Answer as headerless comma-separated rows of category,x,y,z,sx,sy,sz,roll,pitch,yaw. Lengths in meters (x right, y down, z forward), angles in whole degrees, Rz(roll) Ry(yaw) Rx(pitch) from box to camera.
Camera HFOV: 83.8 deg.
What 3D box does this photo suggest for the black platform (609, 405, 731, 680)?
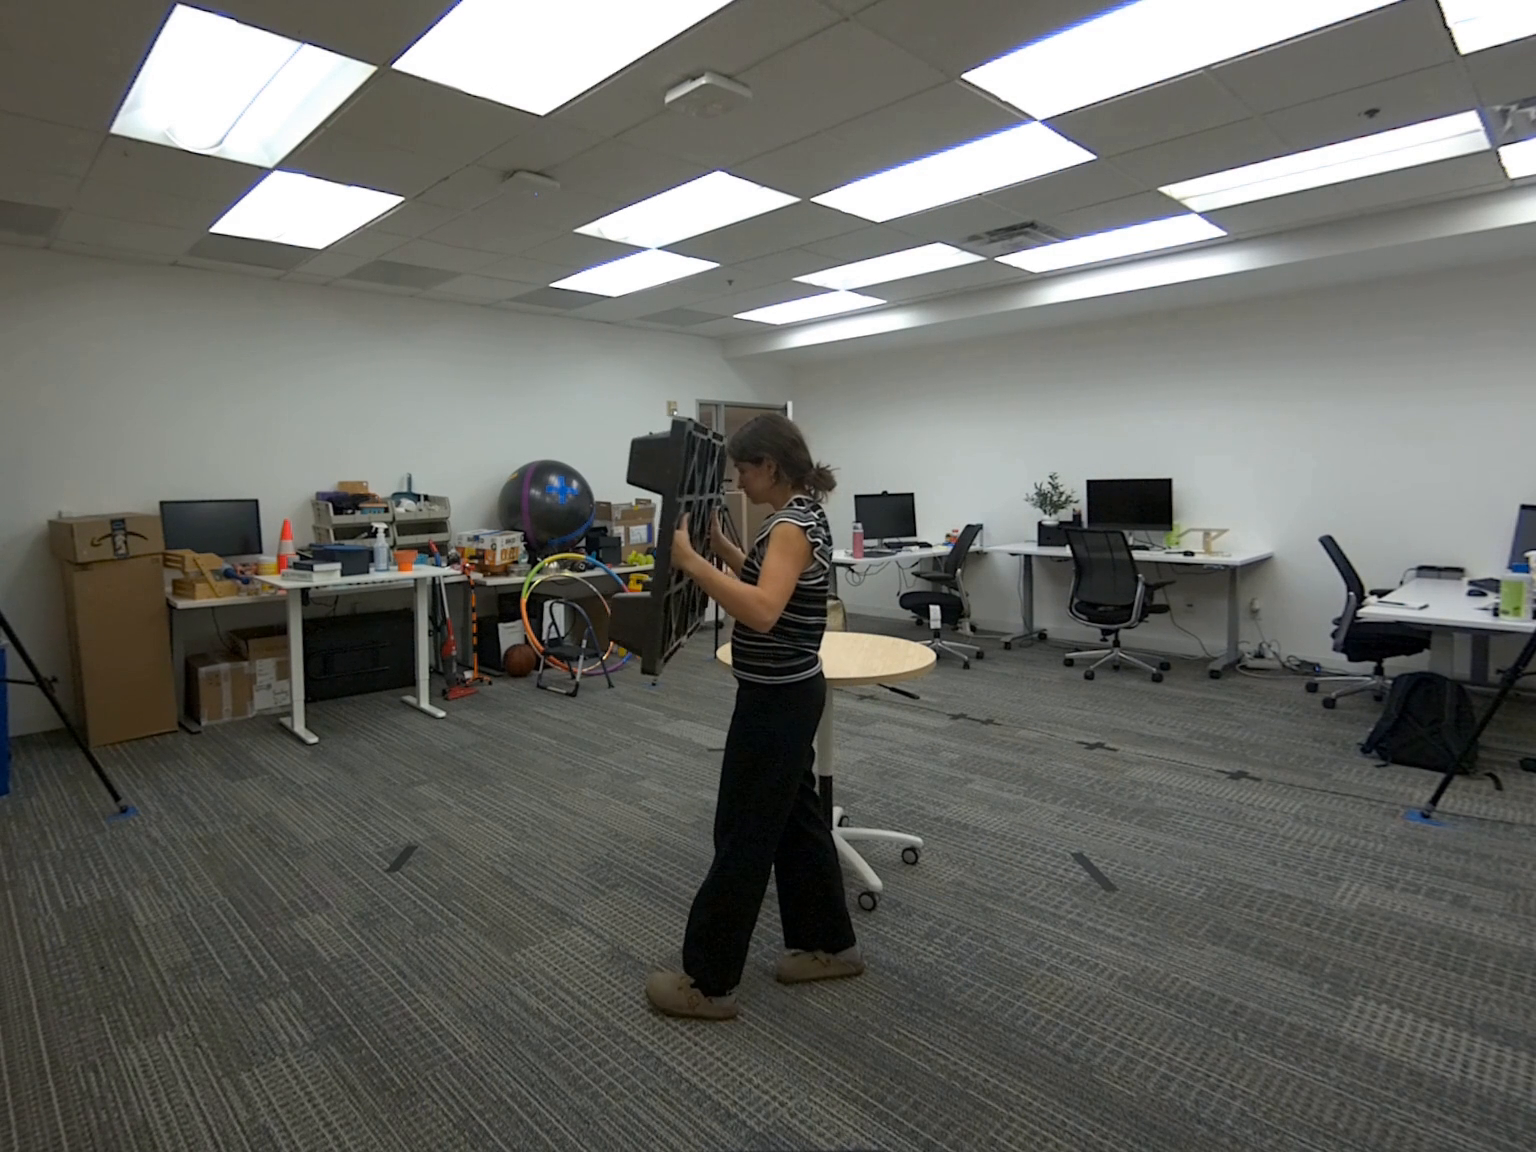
black platform,-0.240,-0.115,2.321,0.144,0.603,0.804,5,5,3
